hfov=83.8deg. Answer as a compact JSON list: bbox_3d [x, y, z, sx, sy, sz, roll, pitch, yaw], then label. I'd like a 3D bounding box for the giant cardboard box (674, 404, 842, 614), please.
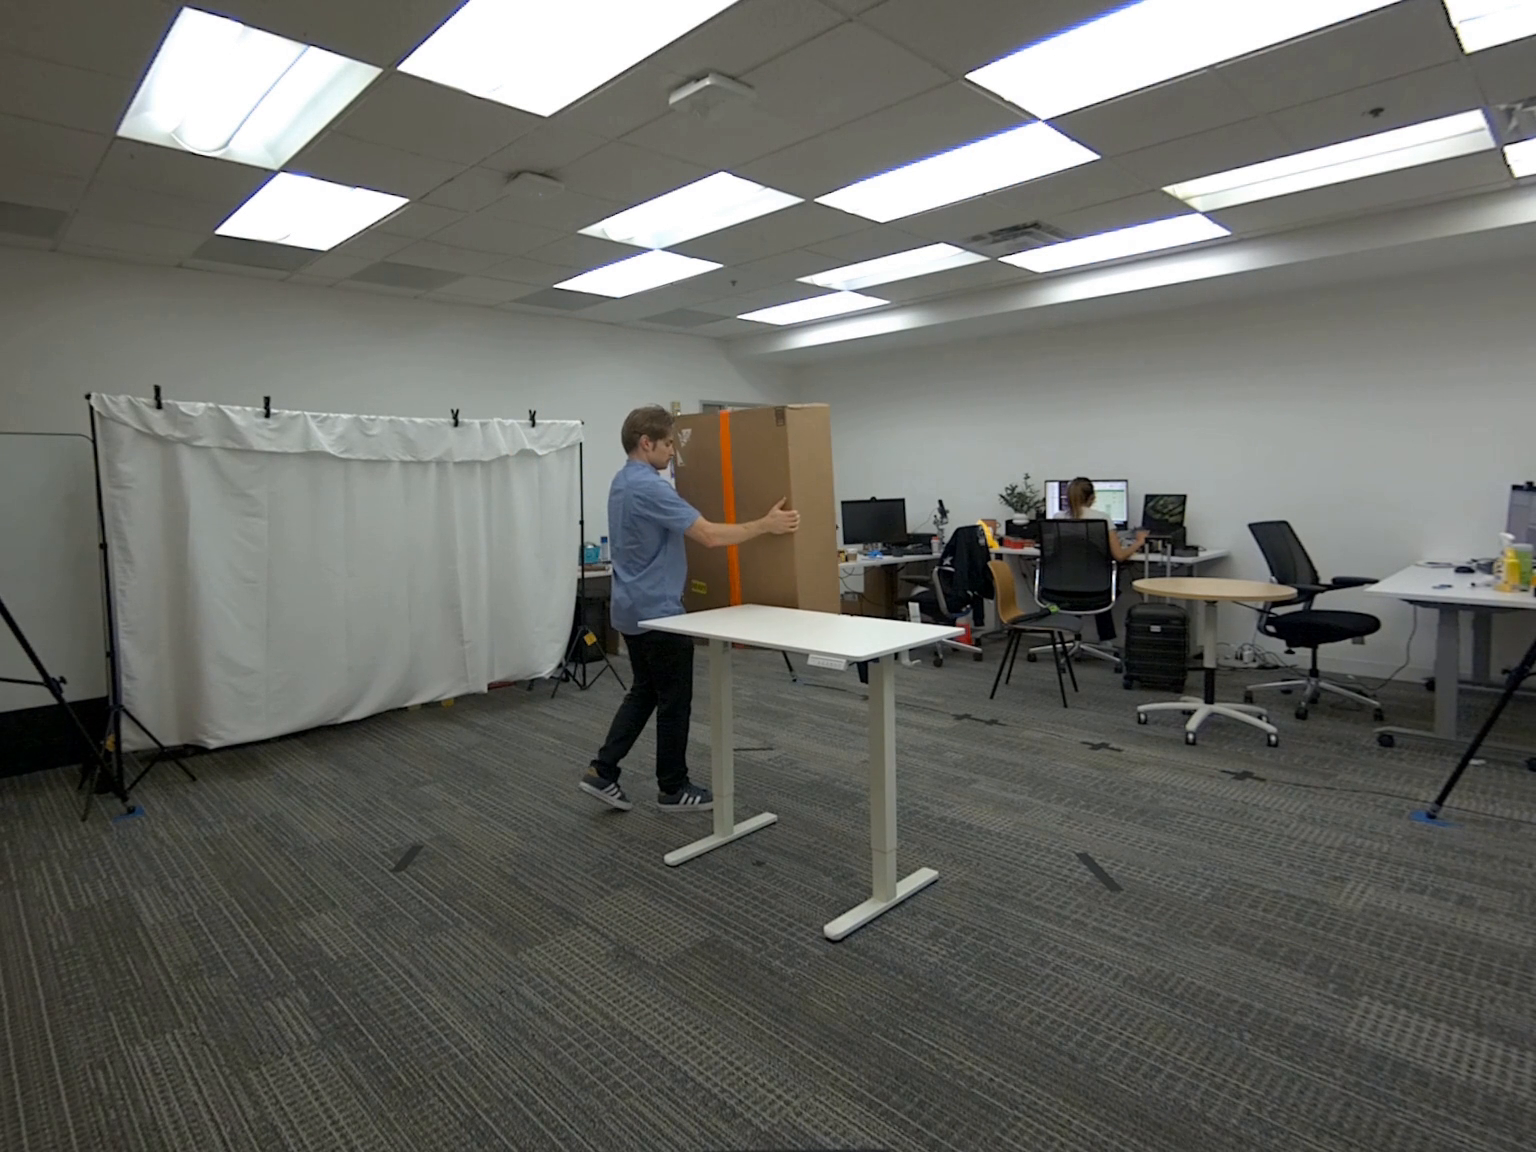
[{"bbox_3d":[-0.046,-0.225,3.800,0.593,1.019,0.418,0,8,32],"label":"giant cardboard box"}]
